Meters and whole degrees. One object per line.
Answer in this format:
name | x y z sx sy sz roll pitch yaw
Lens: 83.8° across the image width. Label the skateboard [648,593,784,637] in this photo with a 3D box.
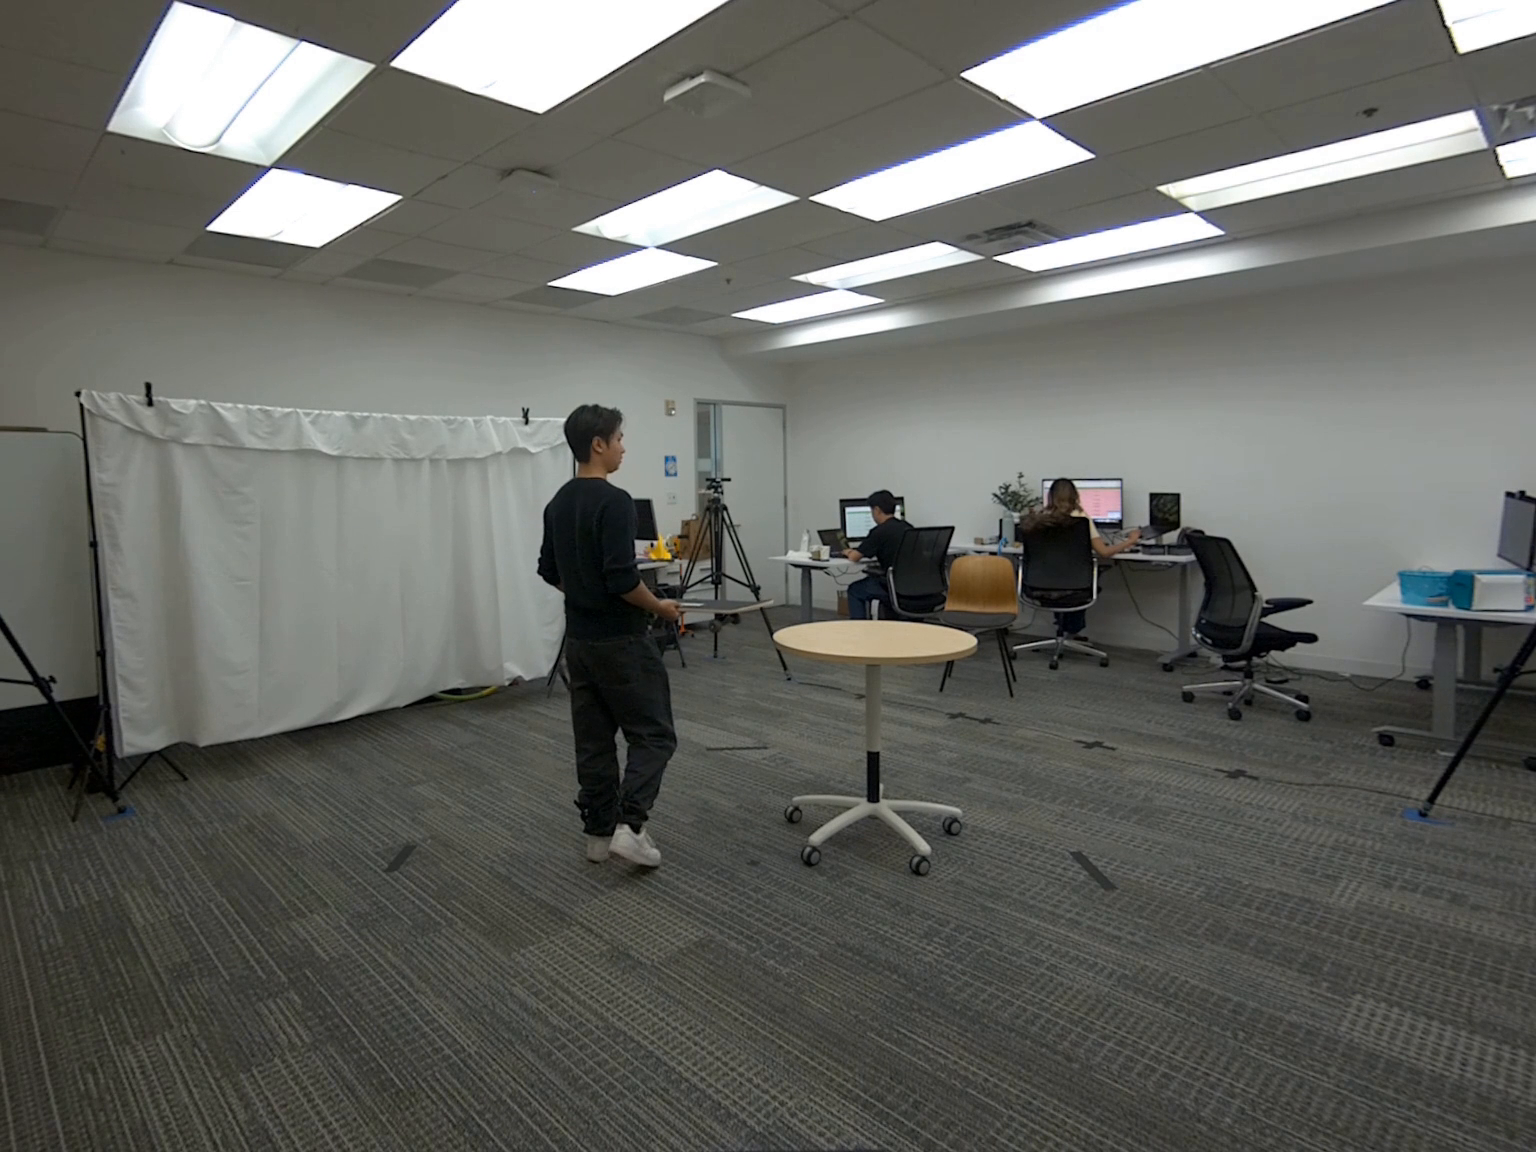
skateboard | -0.339 0.142 3.312 0.805 0.110 0.190 0 9 30
